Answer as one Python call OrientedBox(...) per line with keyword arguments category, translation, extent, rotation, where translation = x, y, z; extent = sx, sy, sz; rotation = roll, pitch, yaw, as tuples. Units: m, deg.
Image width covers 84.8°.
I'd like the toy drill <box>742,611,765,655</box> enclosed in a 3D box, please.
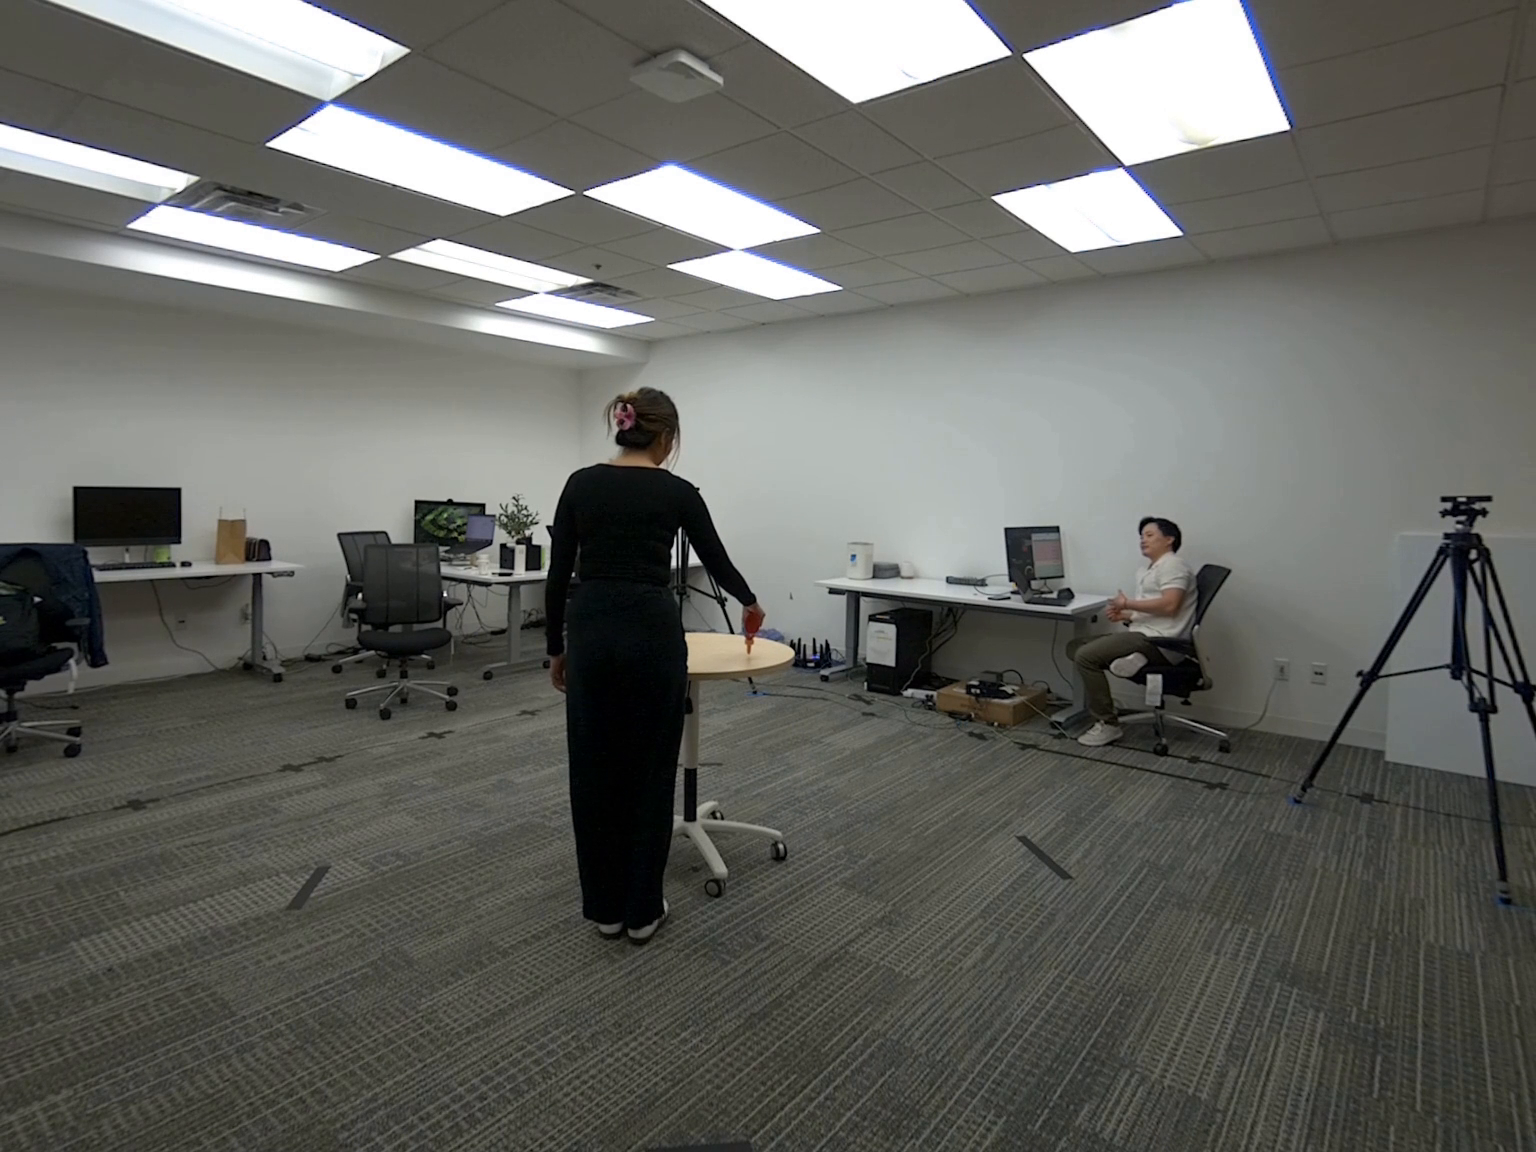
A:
OrientedBox(category="toy drill", translation=(-0.073, 0.196, 3.036), extent=(0.061, 0.170, 0.146), rotation=(9, -2, -2))
